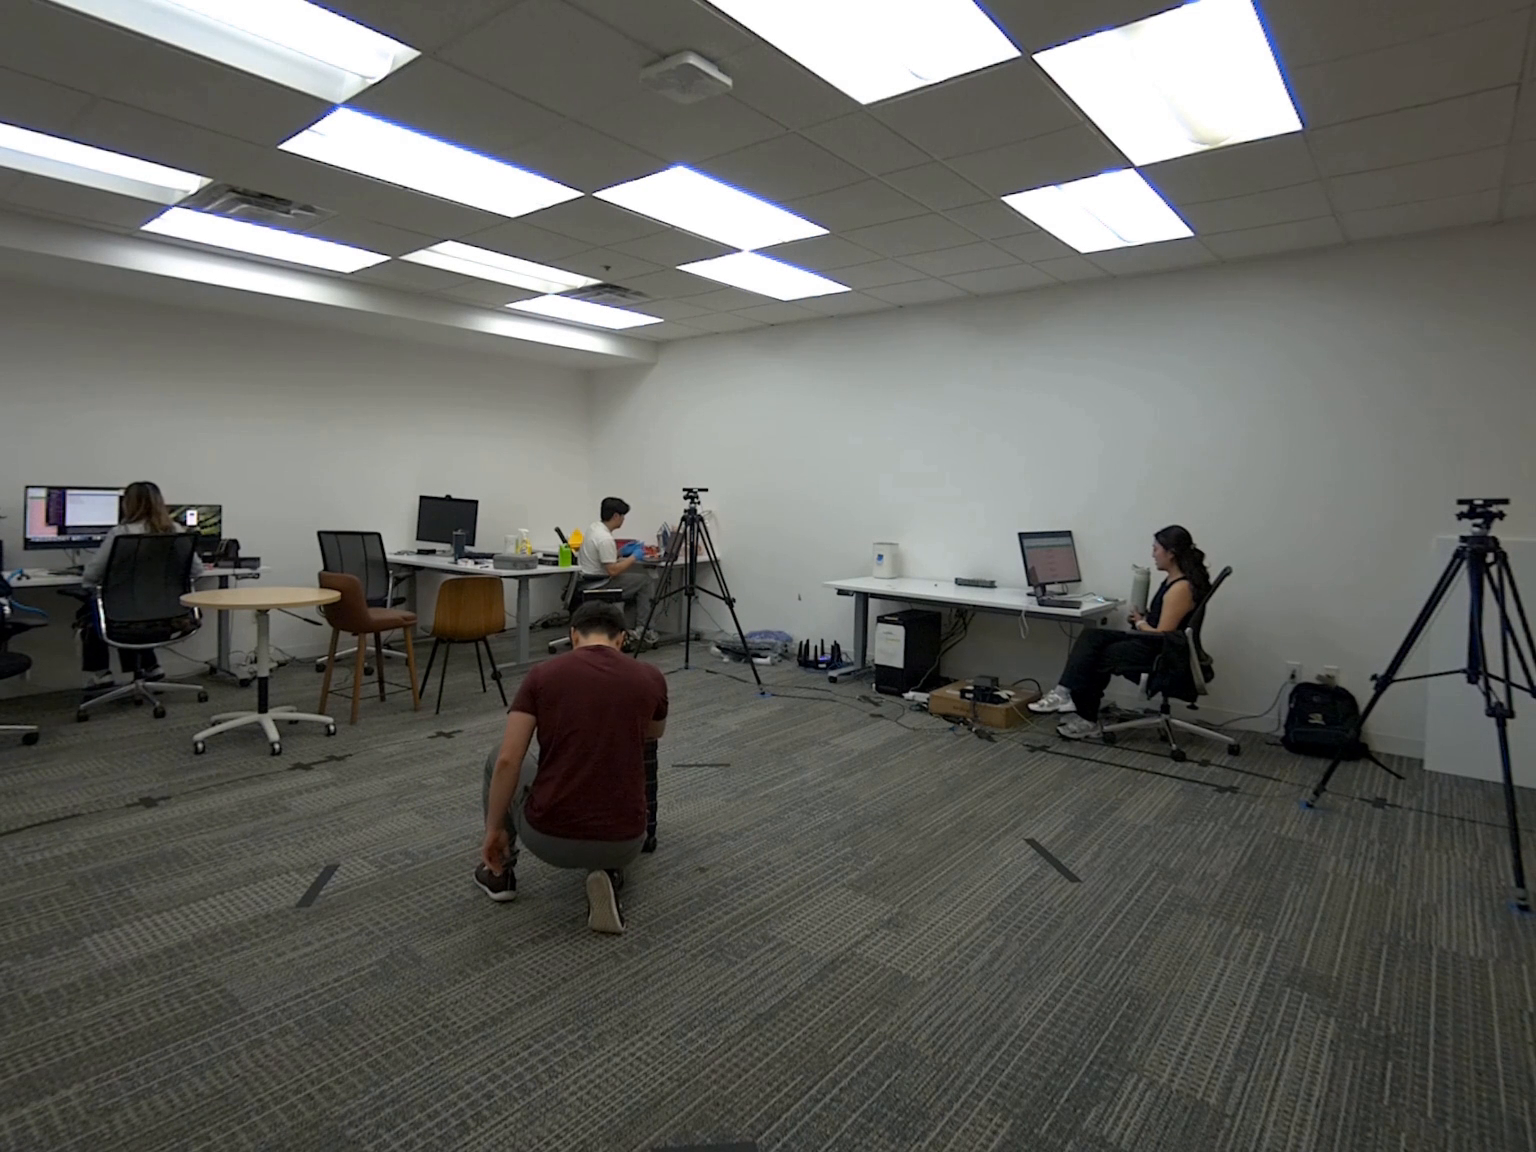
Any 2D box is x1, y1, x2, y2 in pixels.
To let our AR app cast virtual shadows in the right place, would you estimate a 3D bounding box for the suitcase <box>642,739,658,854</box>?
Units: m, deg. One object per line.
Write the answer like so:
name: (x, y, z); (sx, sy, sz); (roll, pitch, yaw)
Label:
suitcase: (-0.622, 0.563, 3.296); (0.376, 0.975, 0.263); (-1, 4, -21)
